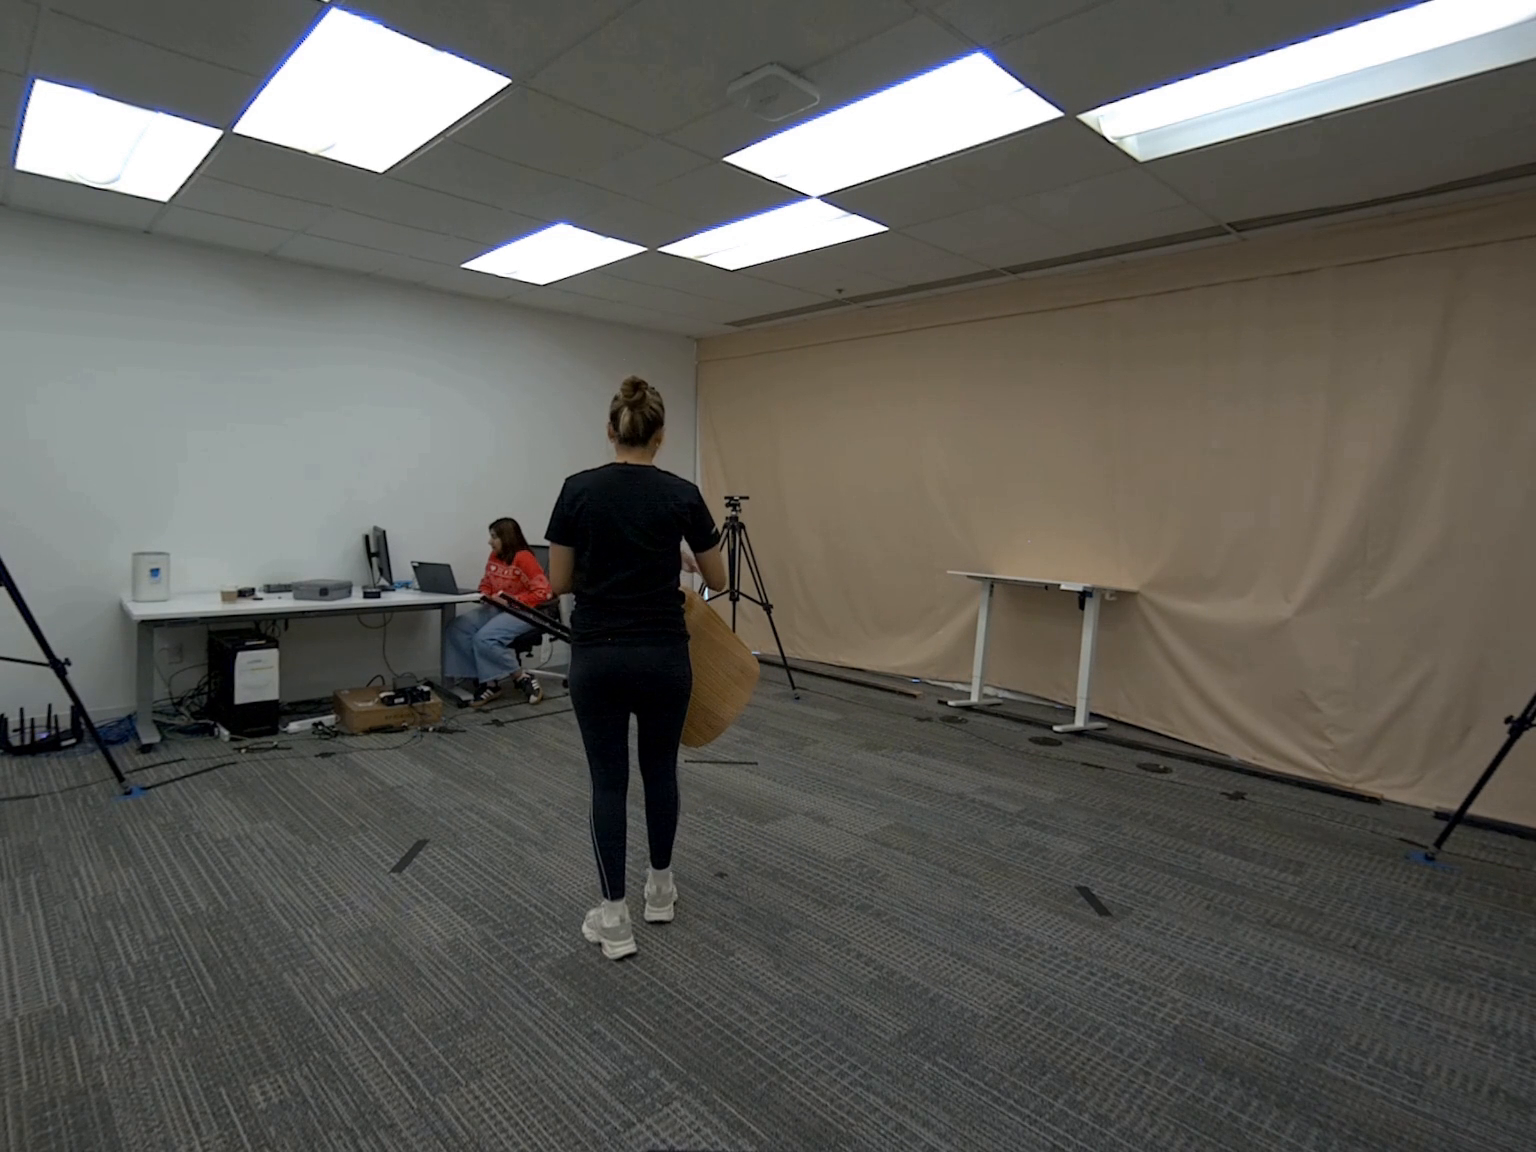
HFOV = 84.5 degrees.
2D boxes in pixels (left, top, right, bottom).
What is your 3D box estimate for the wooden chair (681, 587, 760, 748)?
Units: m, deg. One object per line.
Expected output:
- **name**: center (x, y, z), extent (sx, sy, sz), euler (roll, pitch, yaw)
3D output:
- **wooden chair**: center (-0.504, 0.192, 2.953), extent (0.867, 0.479, 0.529), euler (43, -20, -11)
